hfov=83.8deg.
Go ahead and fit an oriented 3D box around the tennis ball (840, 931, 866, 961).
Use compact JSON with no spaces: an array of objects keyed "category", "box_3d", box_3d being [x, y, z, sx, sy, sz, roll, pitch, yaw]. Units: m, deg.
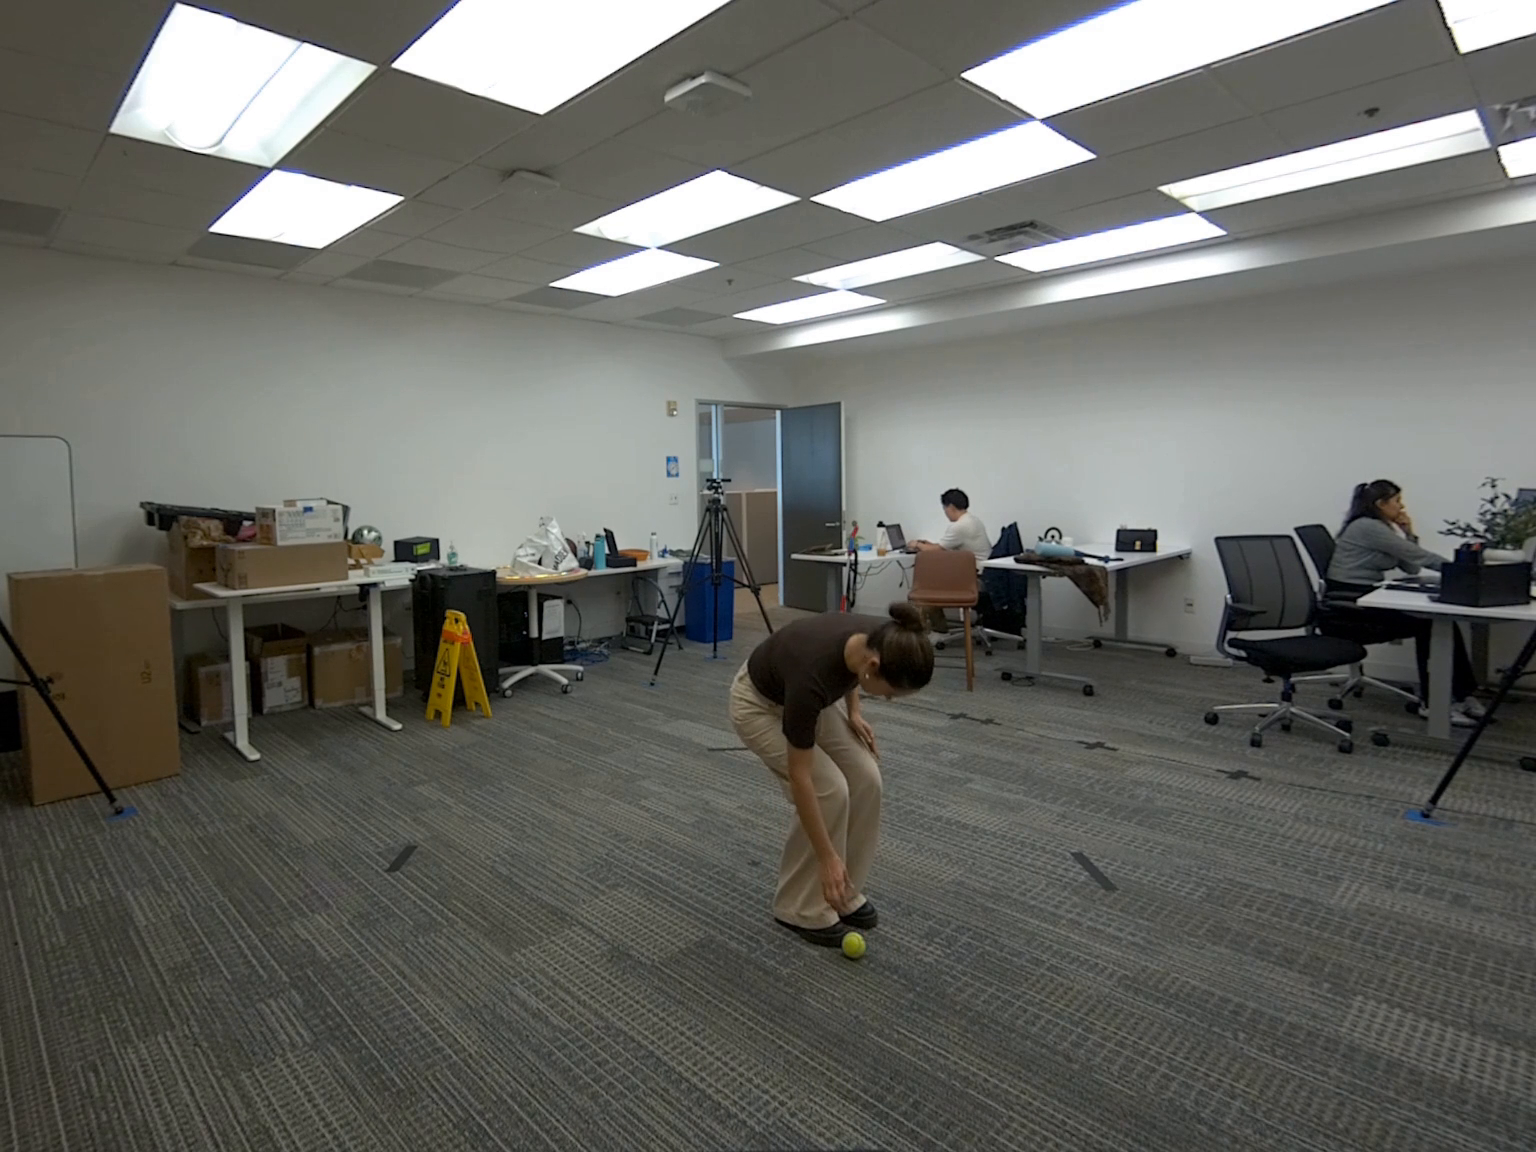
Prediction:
[{"category":"tennis ball","box_3d":[0.260,1.072,2.493,0.066,0.066,0.067,-1,5,-2]}]
